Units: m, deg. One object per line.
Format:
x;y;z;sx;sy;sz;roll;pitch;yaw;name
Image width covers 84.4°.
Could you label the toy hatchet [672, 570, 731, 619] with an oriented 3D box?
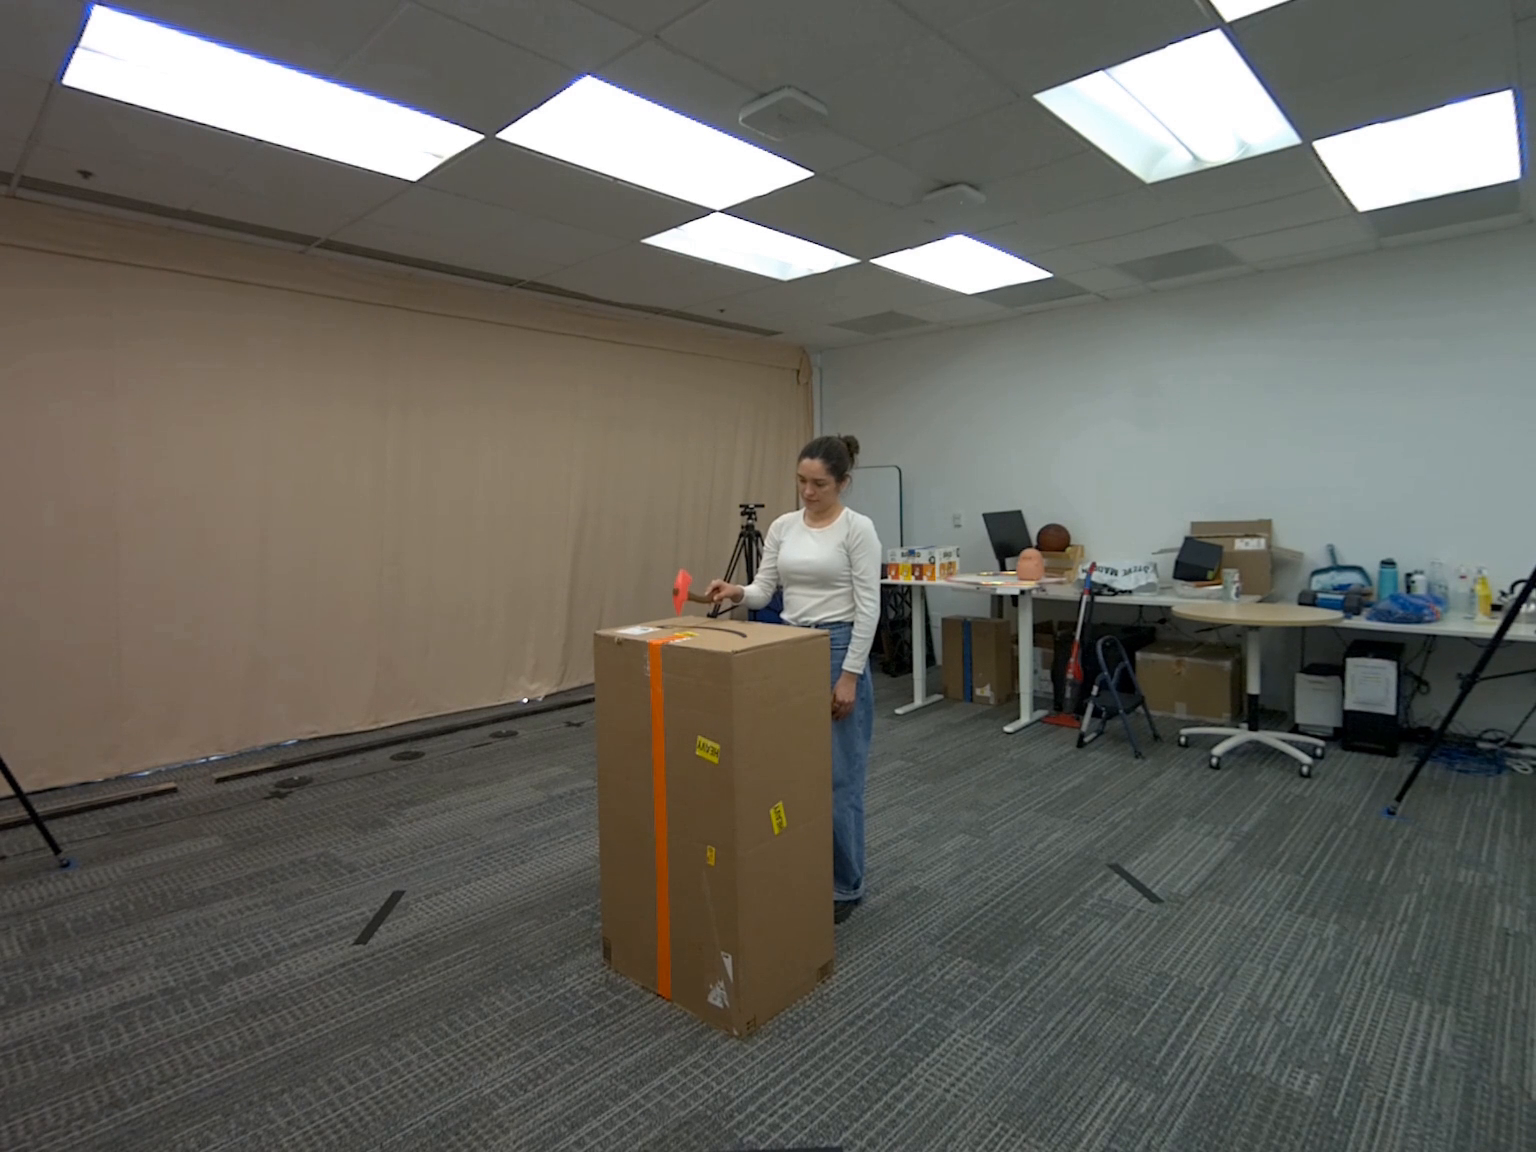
-0.219;0.042;2.629;0.030;0.130;0.264;-5;6;26;toy hatchet
